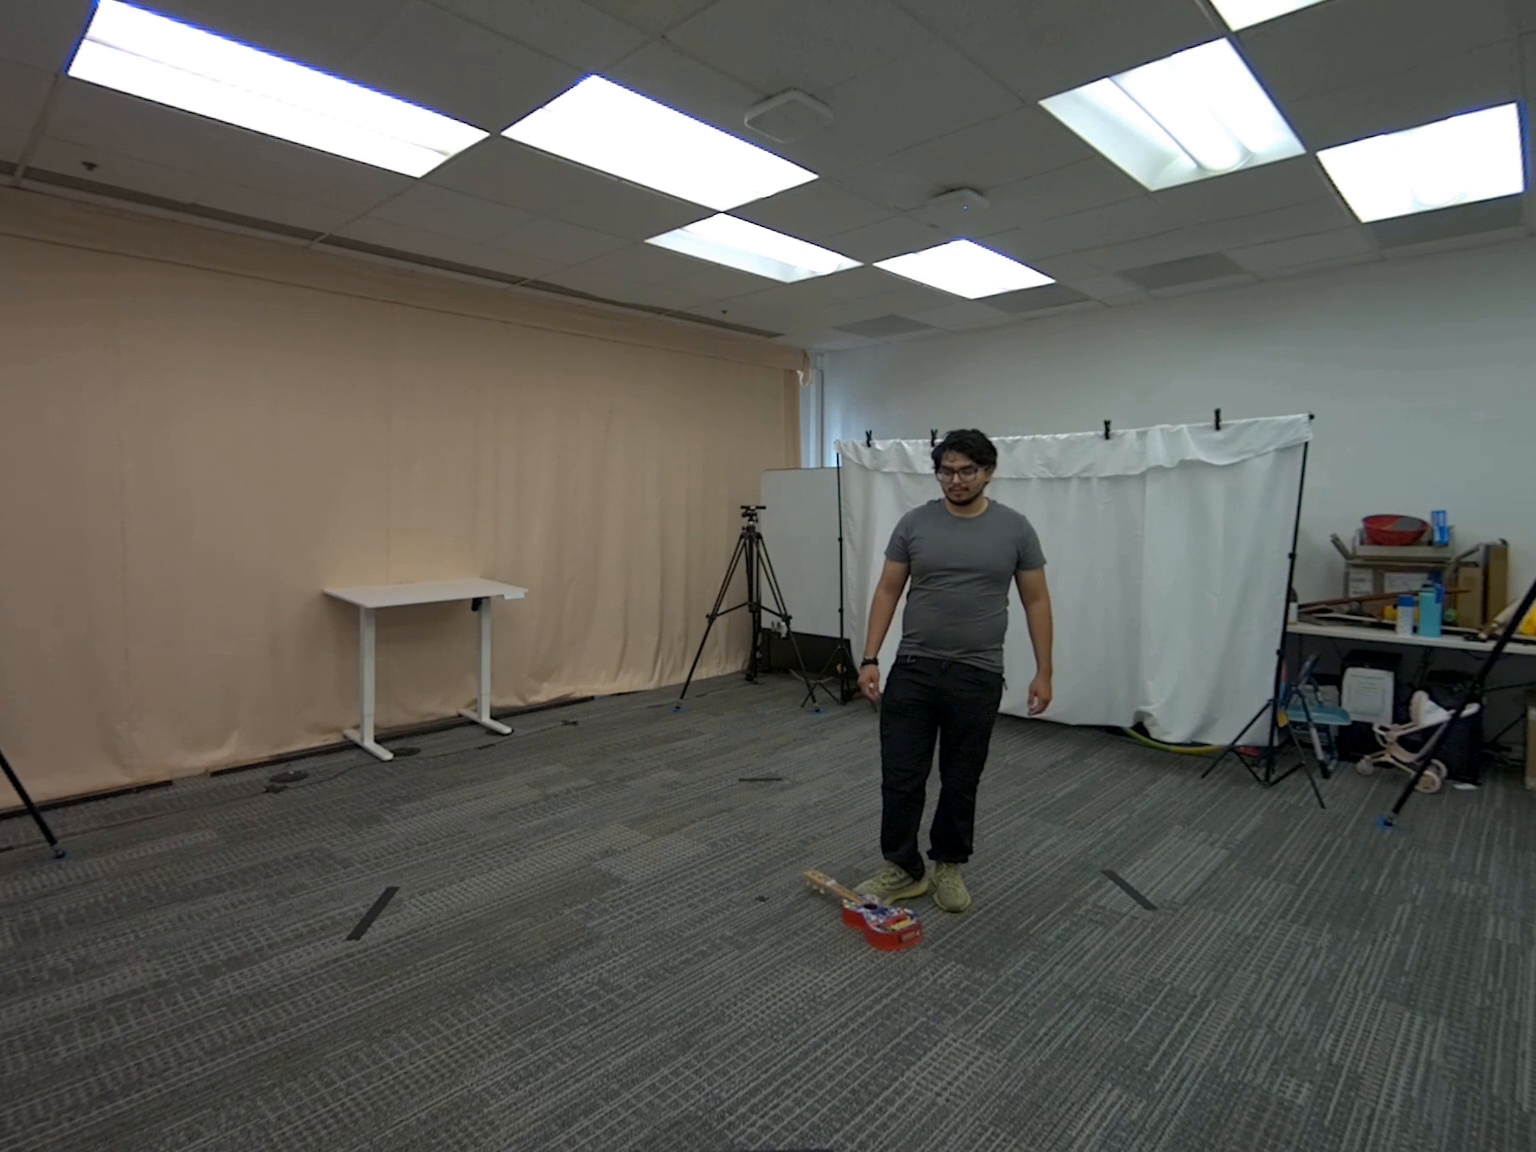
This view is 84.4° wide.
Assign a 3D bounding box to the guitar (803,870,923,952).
[{"bbox_3d":[0.323,1.115,2.878,0.188,0.070,0.512,-4,6,-28],"label":"guitar"}]
